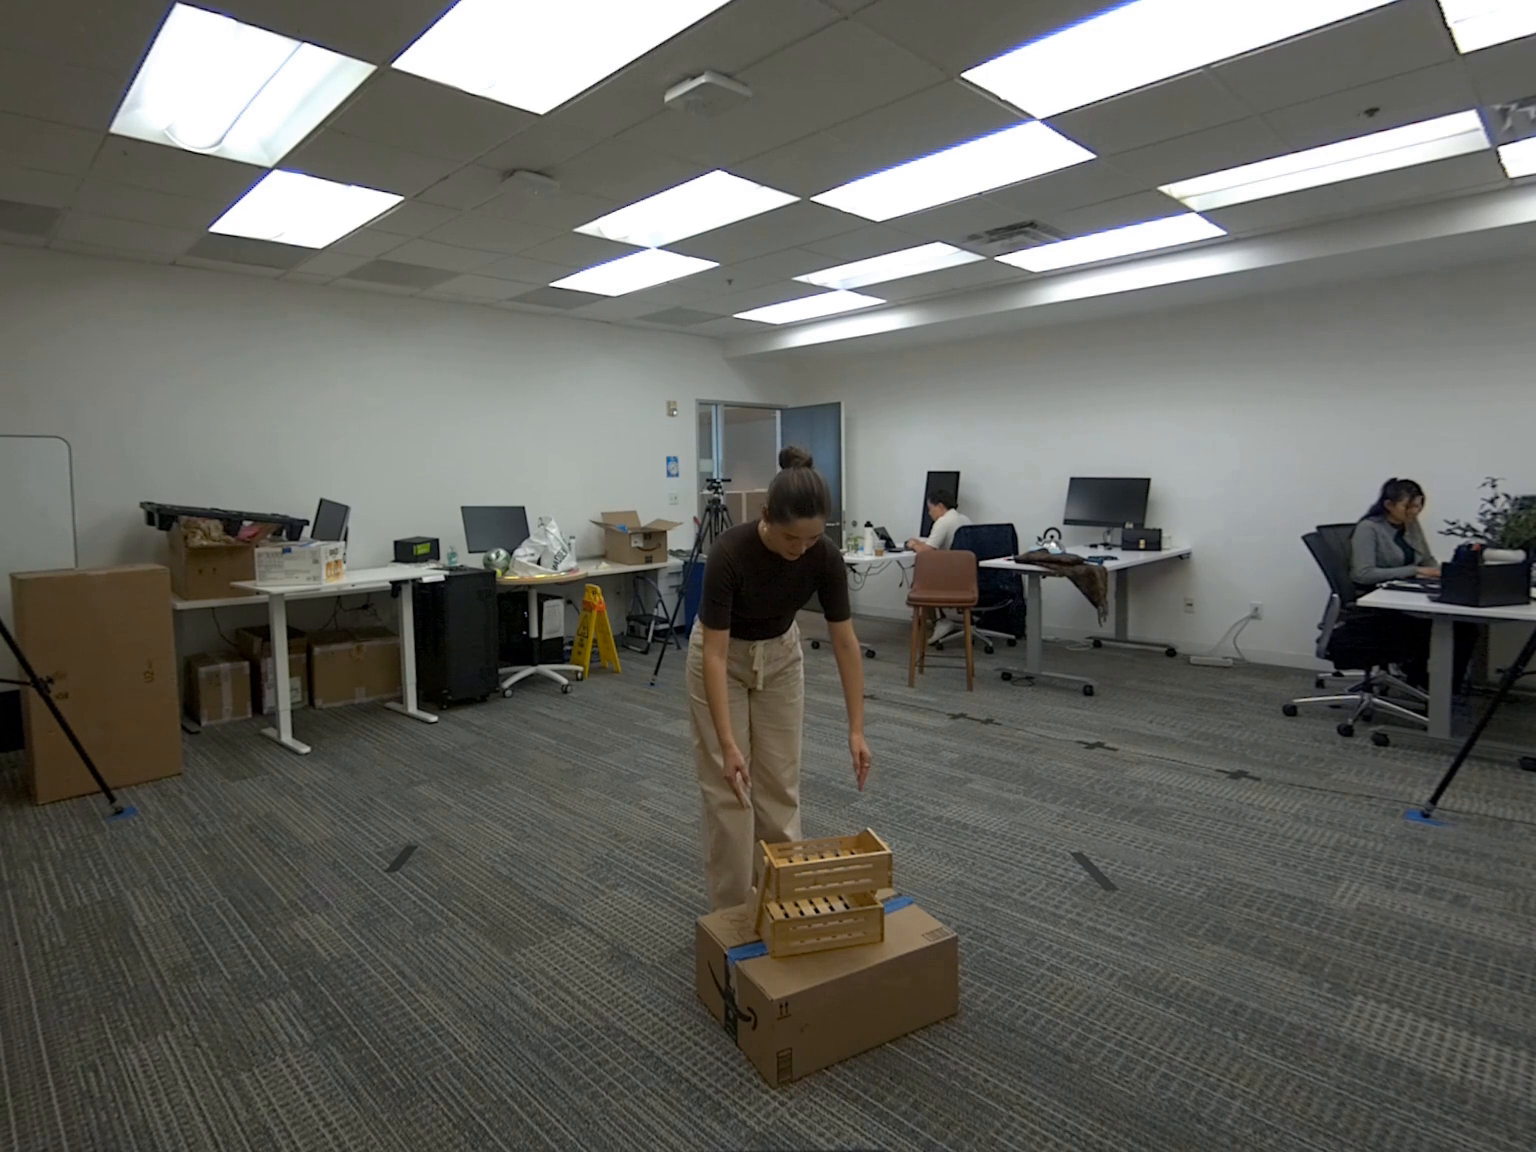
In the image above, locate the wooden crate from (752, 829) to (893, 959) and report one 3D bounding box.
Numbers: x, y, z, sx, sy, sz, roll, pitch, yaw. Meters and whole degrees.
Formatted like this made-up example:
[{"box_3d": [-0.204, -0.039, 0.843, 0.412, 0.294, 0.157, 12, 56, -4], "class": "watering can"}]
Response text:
[{"box_3d": [0.130, 0.792, 2.248, 0.320, 0.272, 0.307, -3, 6, -14], "class": "wooden crate"}]
